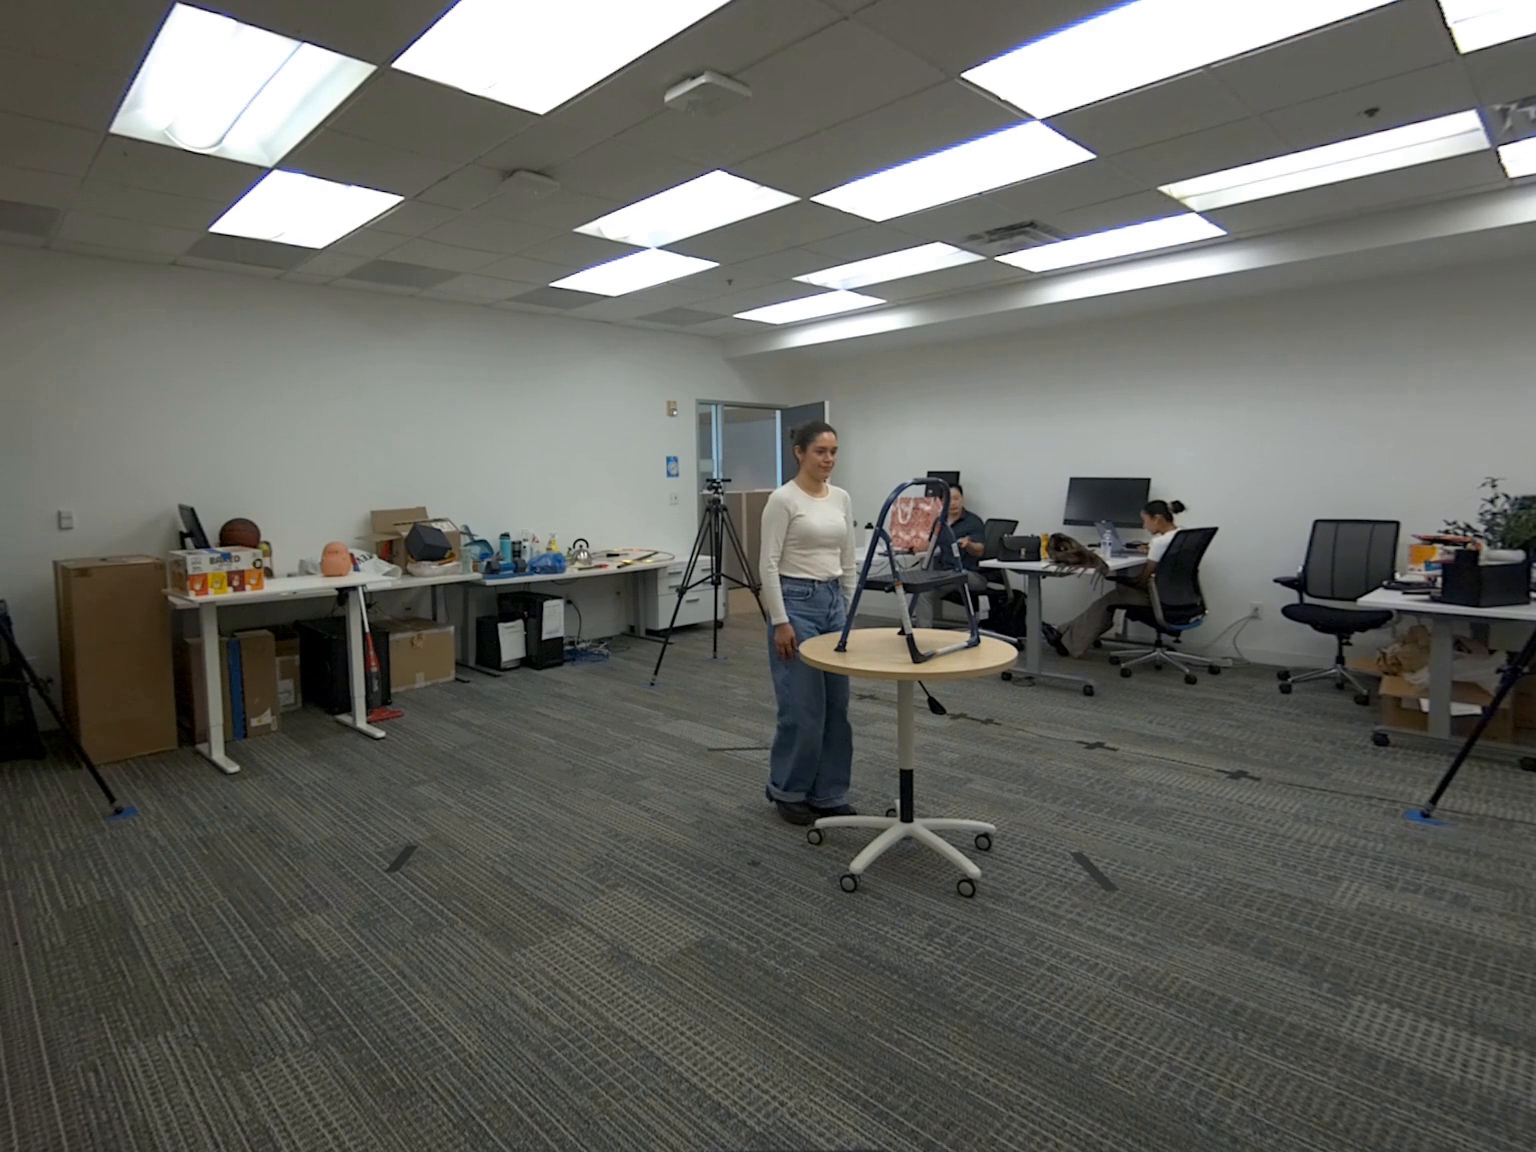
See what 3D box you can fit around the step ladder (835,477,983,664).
[{"bbox_3d":[0.501,-0.042,3.048,0.360,0.604,0.419,2,6,43],"label":"step ladder"}]
